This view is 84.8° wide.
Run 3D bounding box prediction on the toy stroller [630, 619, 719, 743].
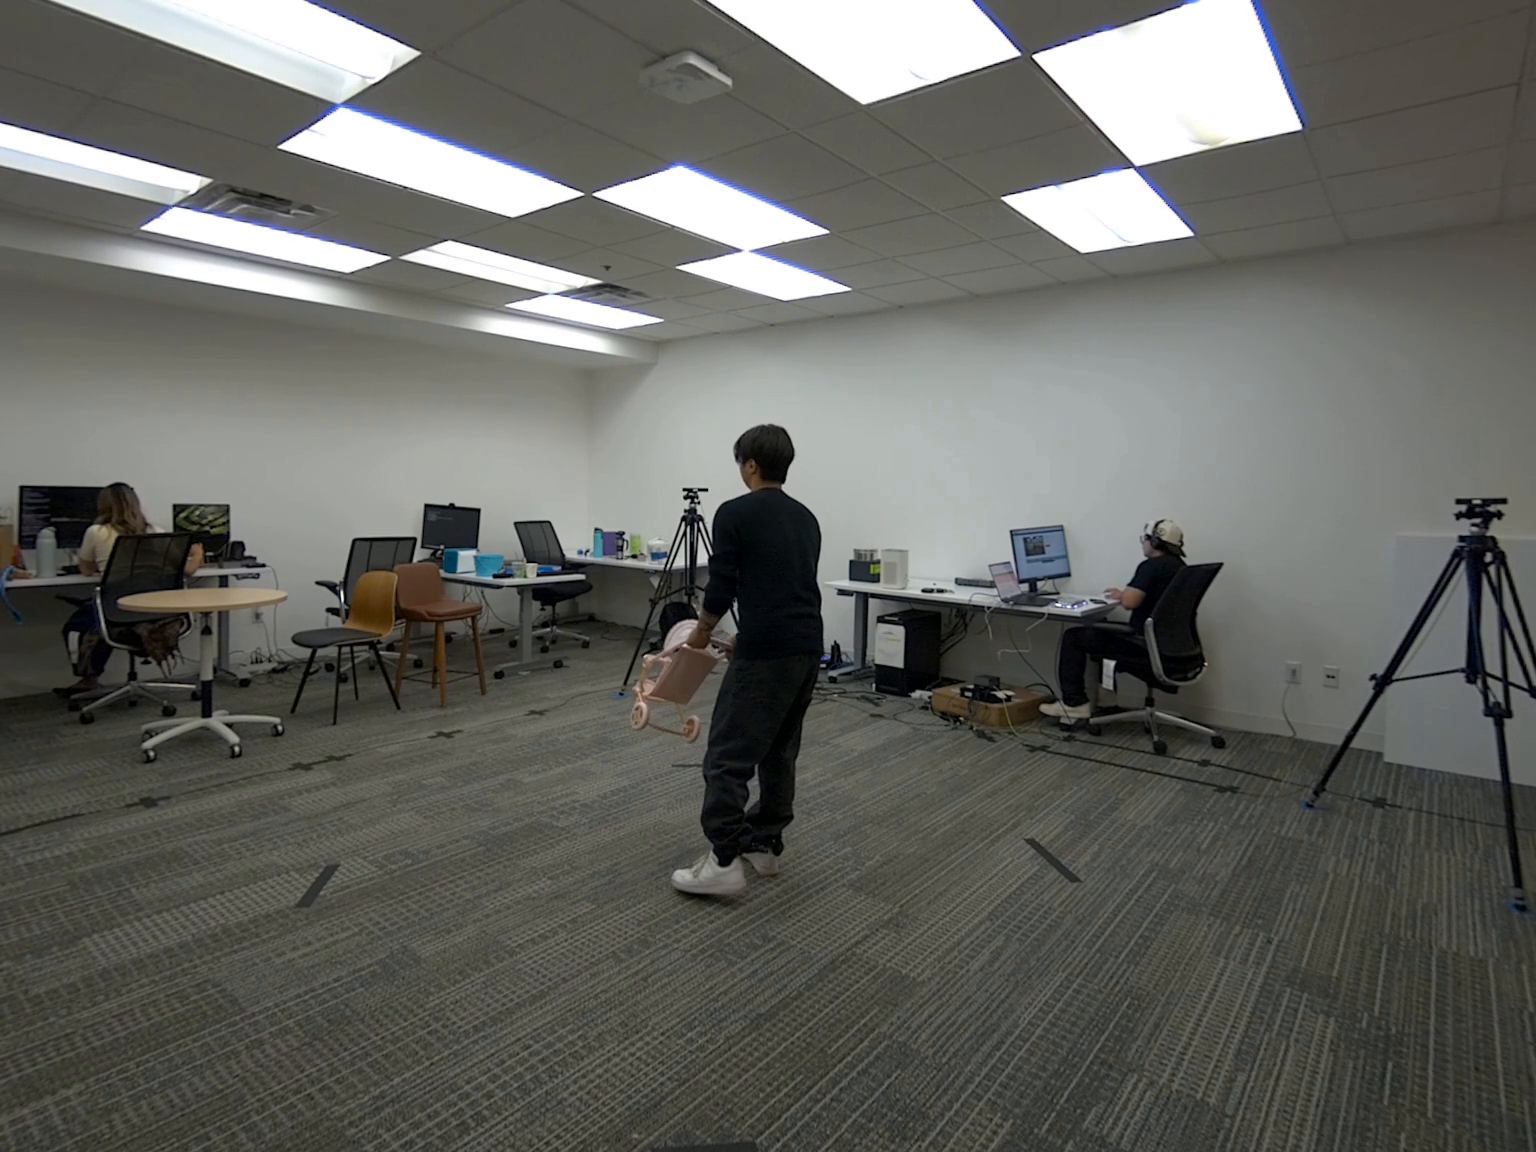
[{"bbox_3d":[-0.387,0.405,3.421,0.272,0.533,0.354,21,13,-29],"label":"toy stroller"}]
